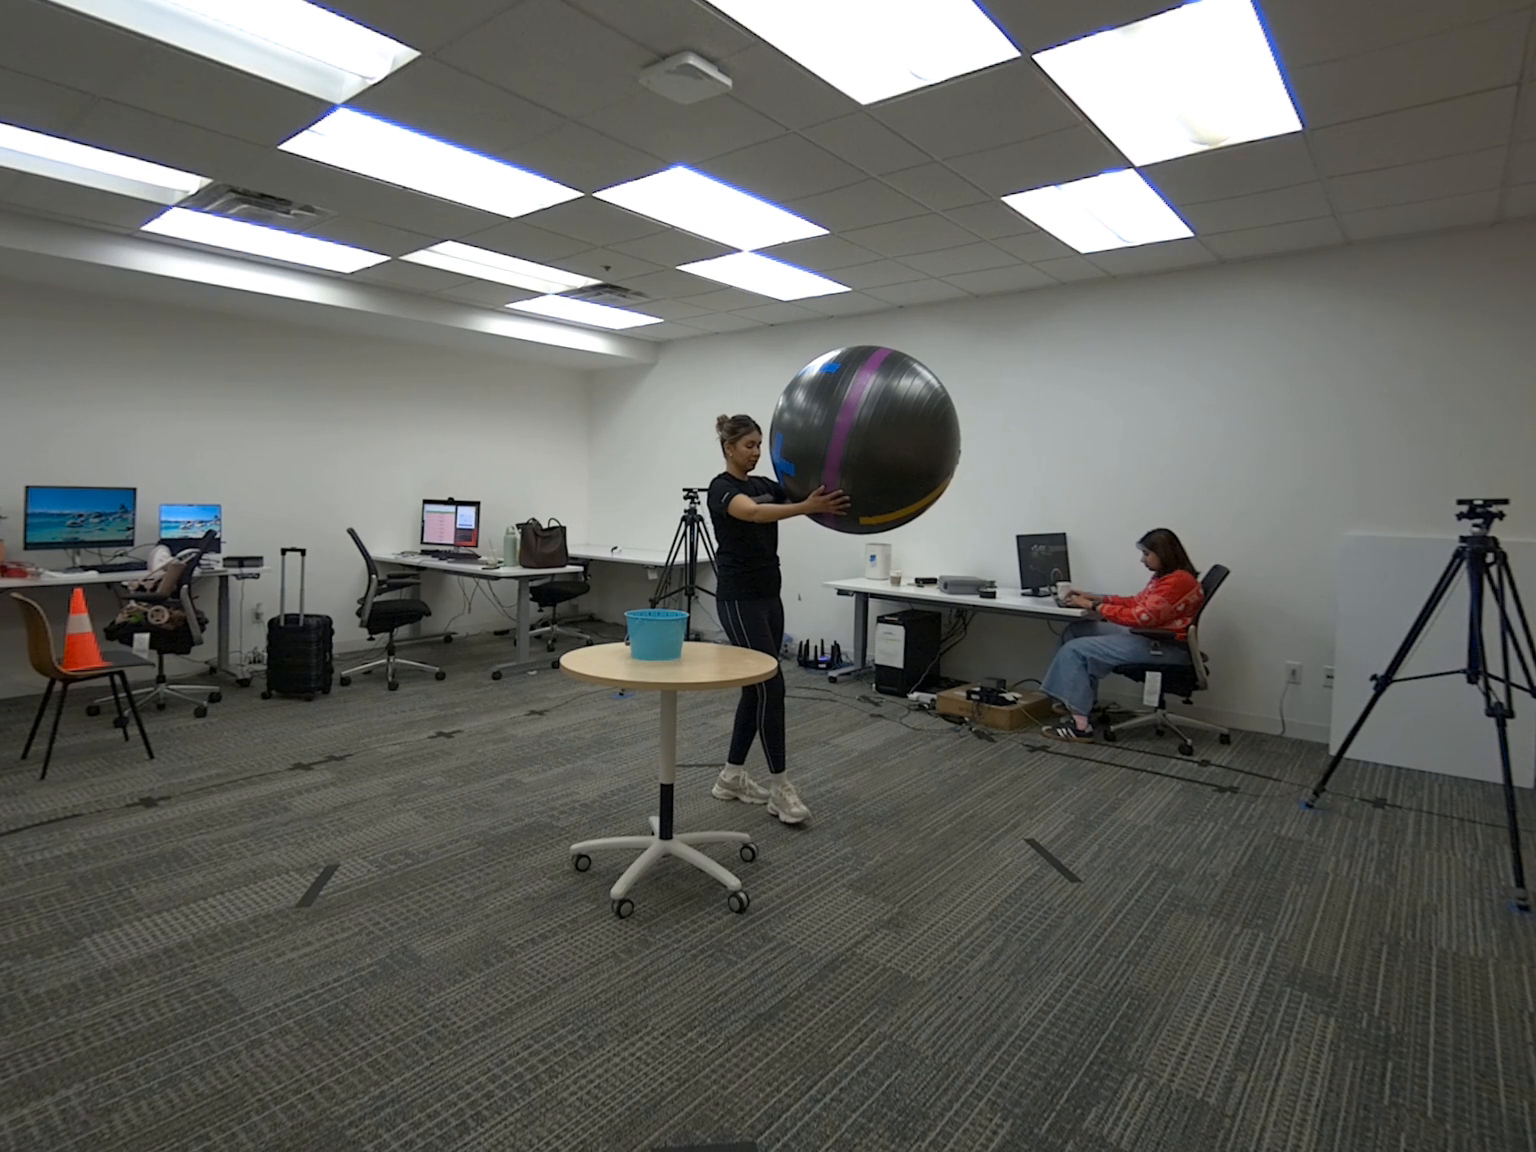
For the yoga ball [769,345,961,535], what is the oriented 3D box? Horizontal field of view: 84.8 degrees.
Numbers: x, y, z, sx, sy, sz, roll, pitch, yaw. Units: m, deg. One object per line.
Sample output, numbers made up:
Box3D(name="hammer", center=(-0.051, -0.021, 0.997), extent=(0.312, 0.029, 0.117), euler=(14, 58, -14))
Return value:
Box3D(name="yoga ball", center=(0.379, -0.545, 3.435), extent=(0.757, 0.756, 0.761), euler=(1, 4, -2))
